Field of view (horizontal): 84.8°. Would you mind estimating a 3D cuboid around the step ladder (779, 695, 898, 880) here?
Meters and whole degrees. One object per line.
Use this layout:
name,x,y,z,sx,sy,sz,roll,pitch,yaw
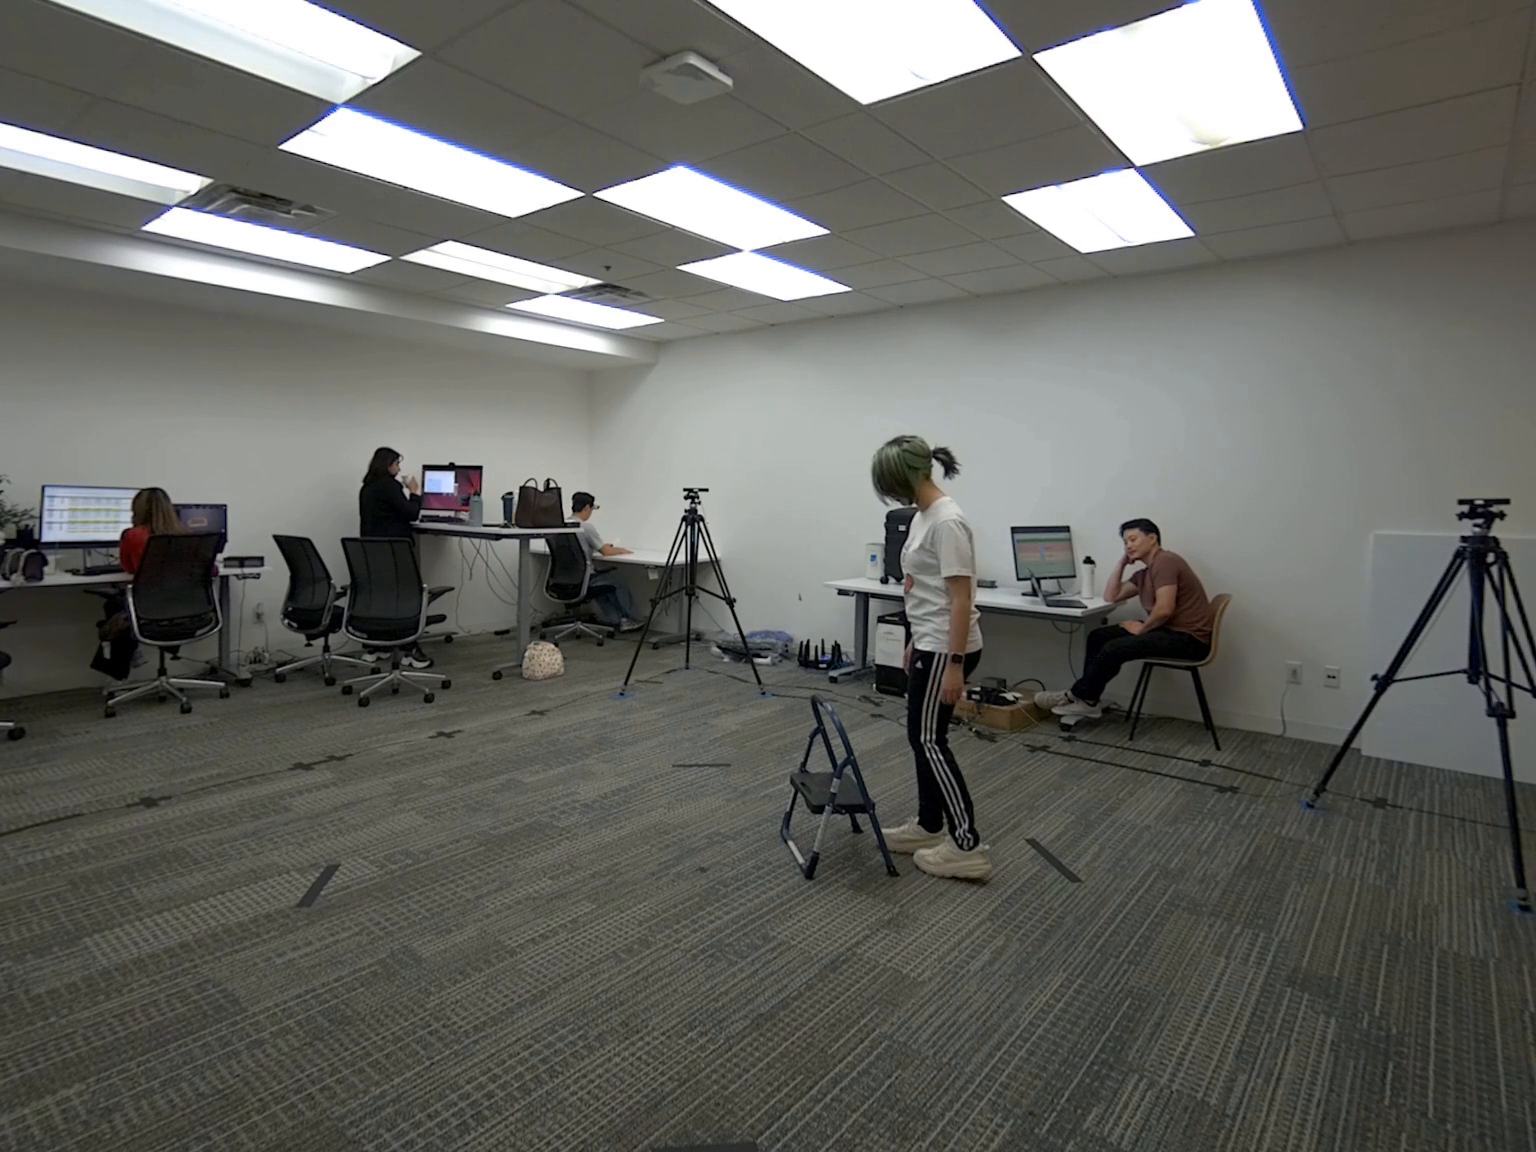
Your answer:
step ladder,0.259,0.767,3.260,0.345,0.604,0.437,1,4,-11
